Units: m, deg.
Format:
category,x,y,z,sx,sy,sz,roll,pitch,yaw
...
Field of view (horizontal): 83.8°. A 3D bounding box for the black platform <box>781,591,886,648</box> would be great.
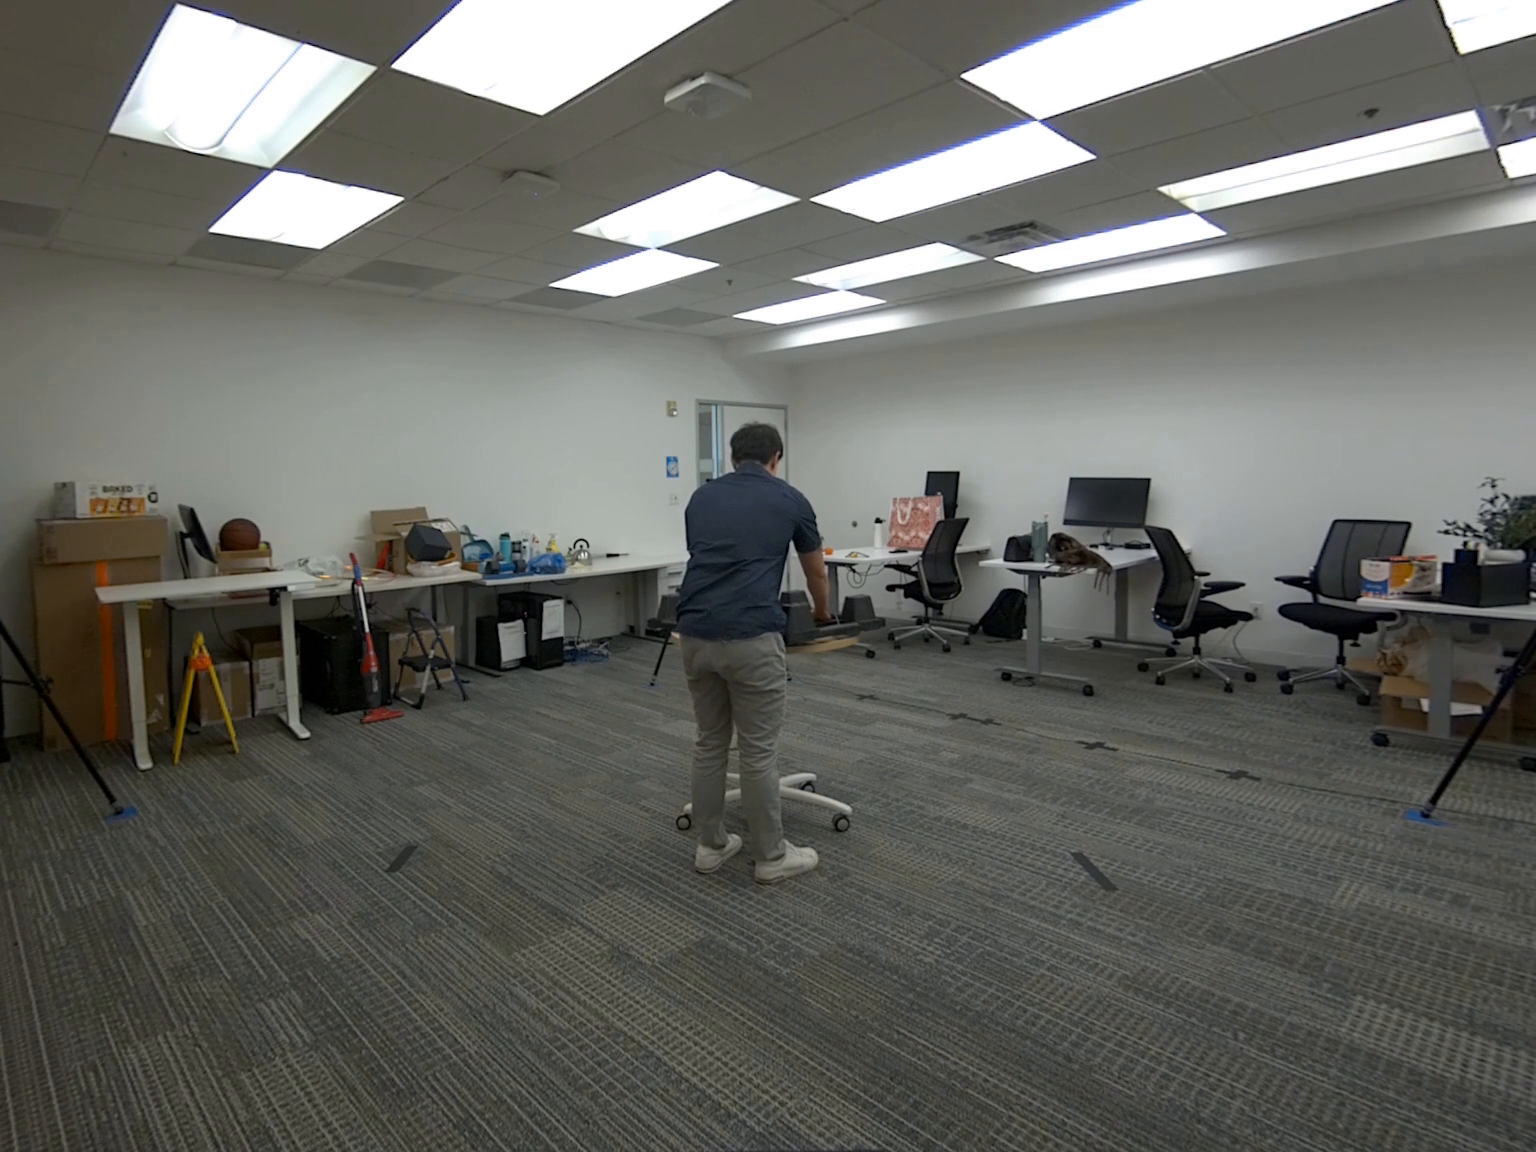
category,x,y,z,sx,sy,sz,roll,pitch,yaw
black platform,-0.008,0.151,3.485,0.830,0.143,0.589,3,7,44
